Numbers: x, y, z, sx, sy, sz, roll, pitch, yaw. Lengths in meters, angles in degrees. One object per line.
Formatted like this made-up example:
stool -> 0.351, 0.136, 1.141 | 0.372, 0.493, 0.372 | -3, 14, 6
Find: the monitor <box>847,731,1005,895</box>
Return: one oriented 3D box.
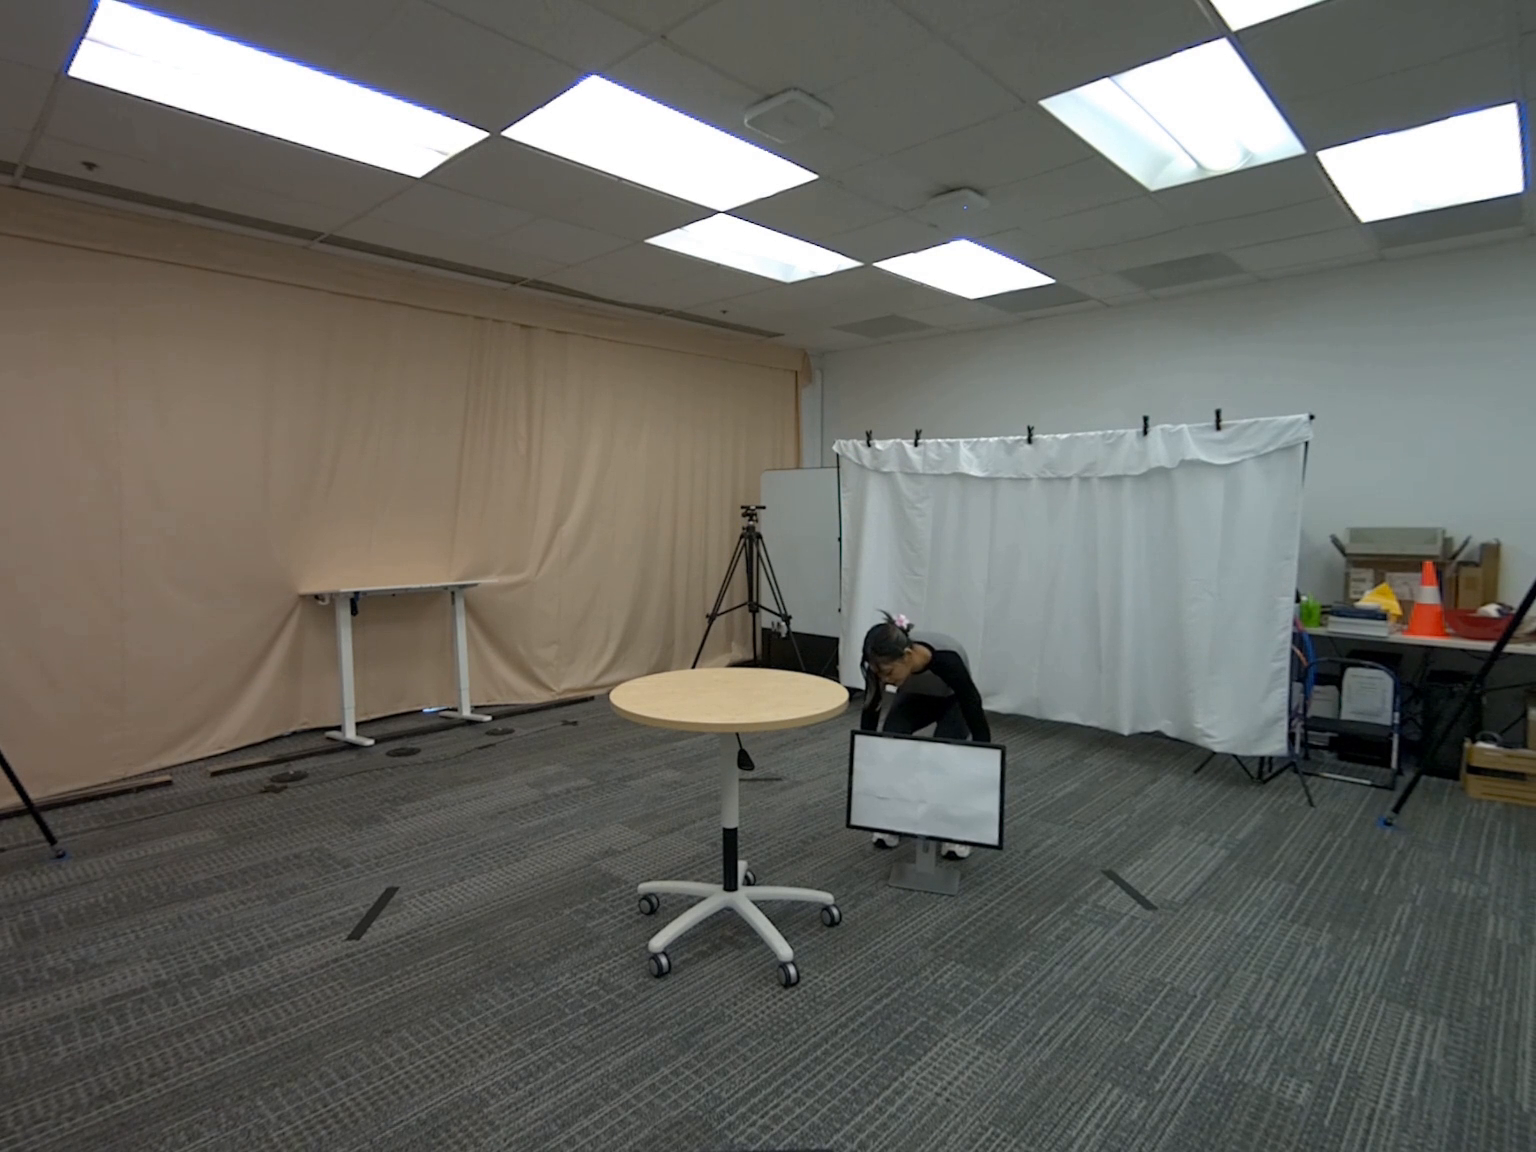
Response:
monitor -> 0.585, 0.862, 3.117 | 0.550, 0.521, 0.184 | 2, 5, 19
